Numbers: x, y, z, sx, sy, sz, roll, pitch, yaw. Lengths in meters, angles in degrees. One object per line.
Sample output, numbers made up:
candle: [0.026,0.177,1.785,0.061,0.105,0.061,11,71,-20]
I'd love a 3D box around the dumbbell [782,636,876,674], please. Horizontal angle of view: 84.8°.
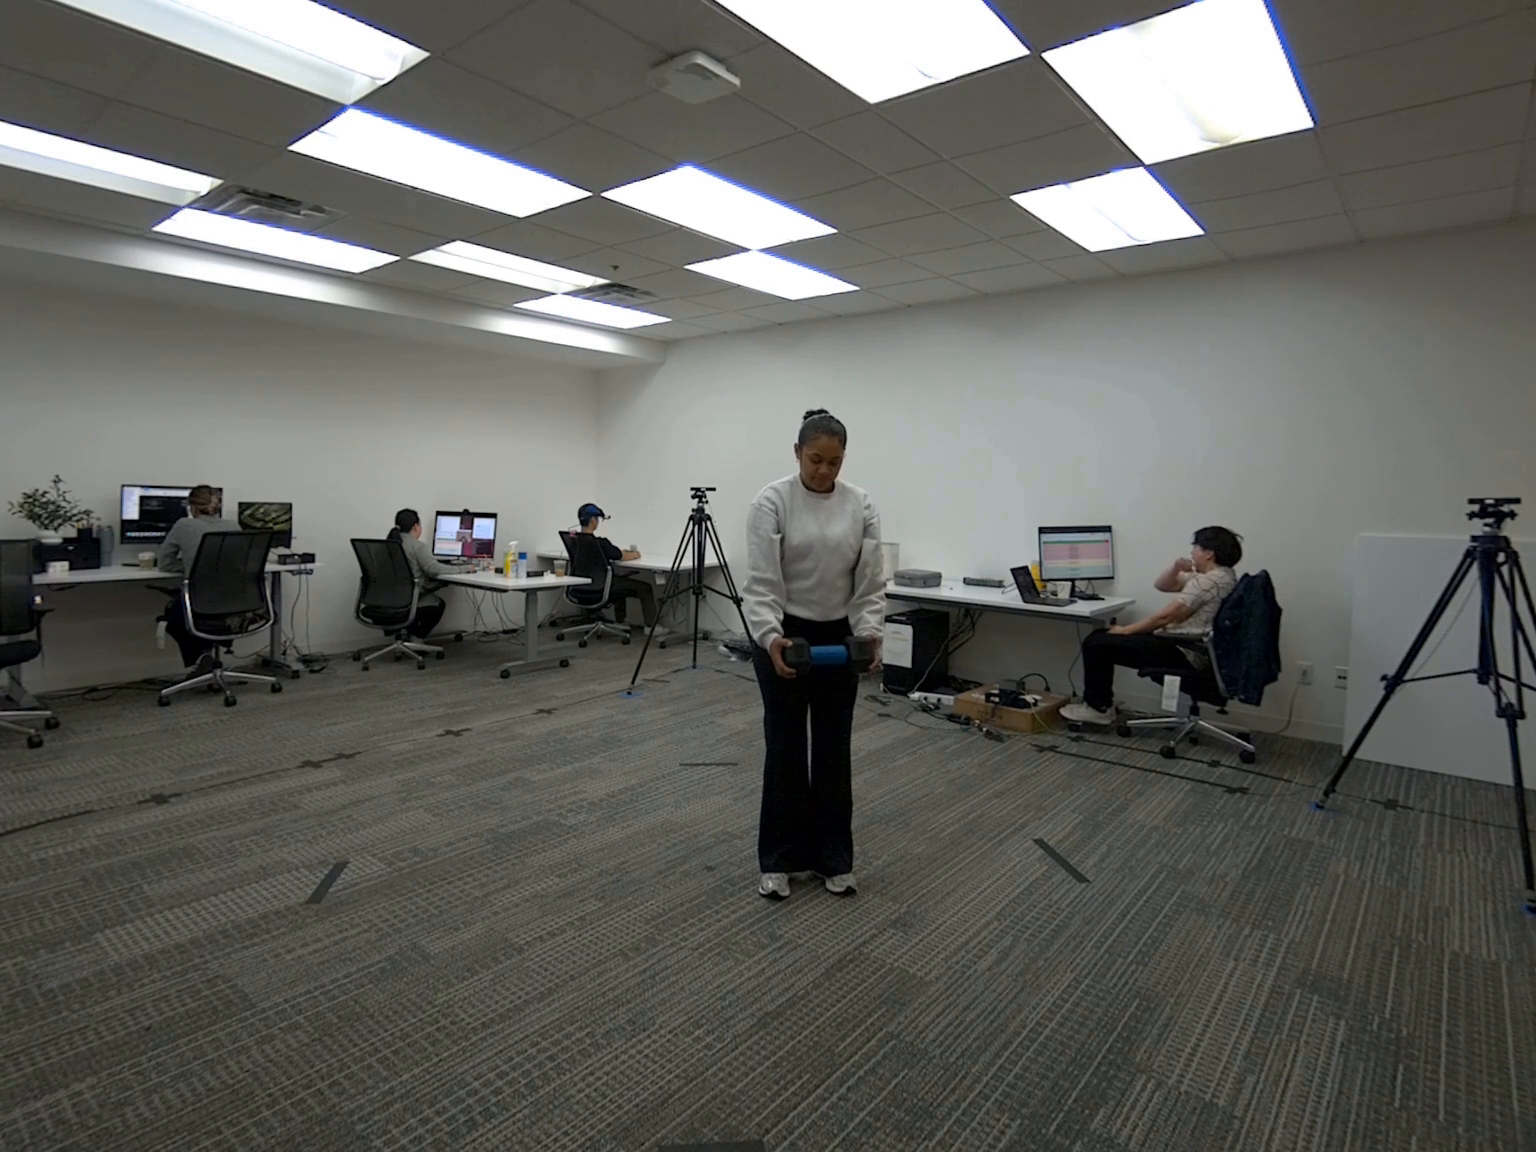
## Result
dumbbell: [0.183,0.241,2.751,0.290,0.125,0.108,1,-19,-11]
